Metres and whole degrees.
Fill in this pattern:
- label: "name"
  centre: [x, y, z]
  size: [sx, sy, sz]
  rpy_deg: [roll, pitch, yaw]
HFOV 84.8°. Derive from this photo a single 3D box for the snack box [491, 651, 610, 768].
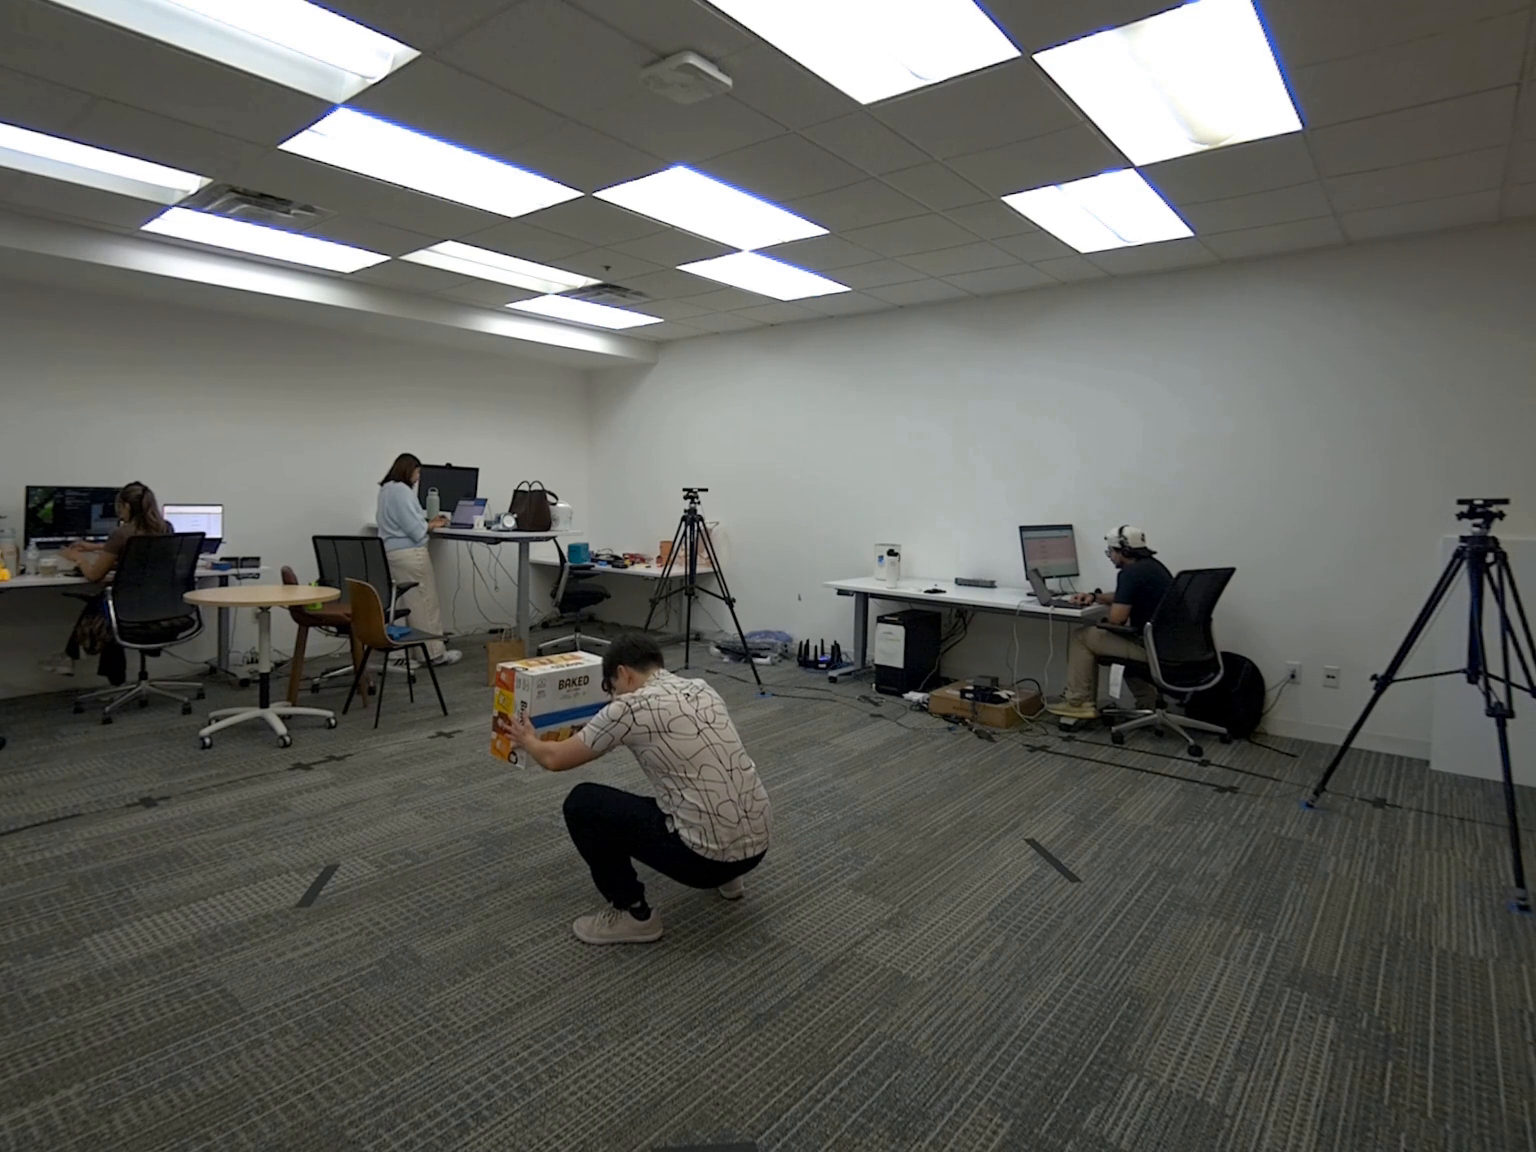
- label: "snack box"
  centre: [-0.821, 0.483, 3.207]
  size: [0.213, 0.339, 0.393]
  rpy_deg: [10, 7, 36]
